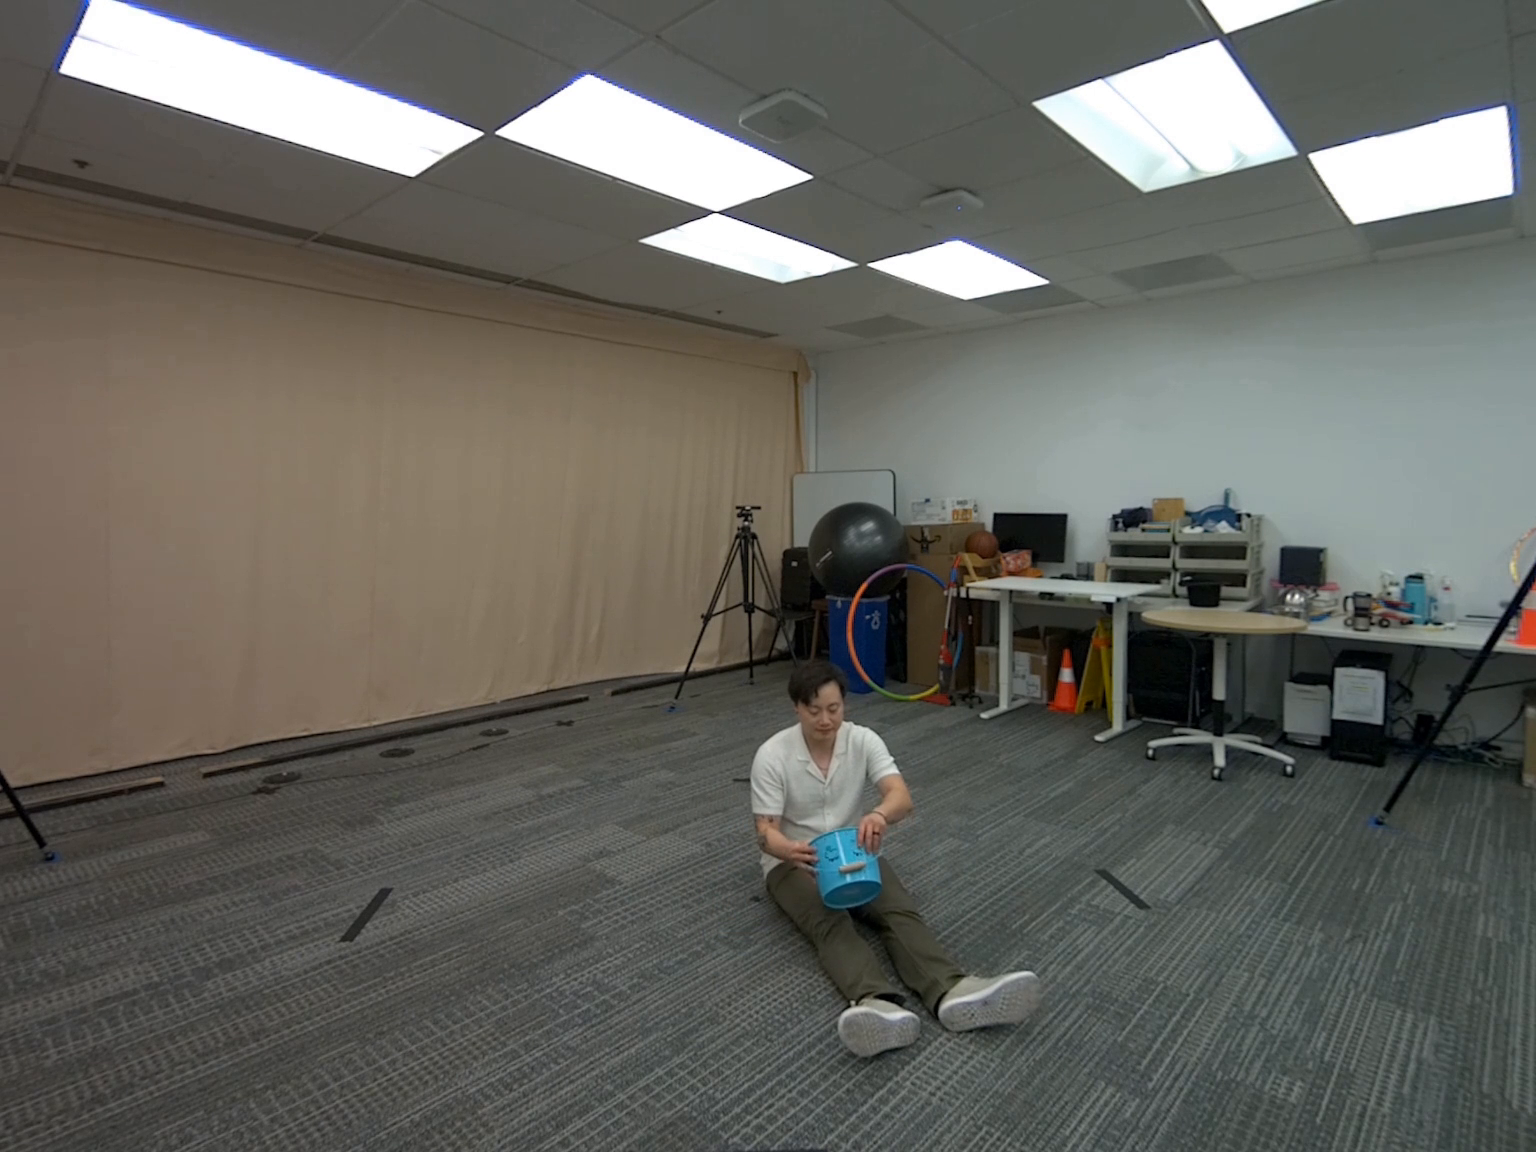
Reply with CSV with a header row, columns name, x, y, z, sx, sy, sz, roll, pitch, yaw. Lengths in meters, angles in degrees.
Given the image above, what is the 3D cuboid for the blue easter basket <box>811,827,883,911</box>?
name,x,y,z,sx,sy,sz,roll,pitch,yaw
blue easter basket,0.235,0.887,2.548,0.240,0.241,0.160,-1,44,-14
